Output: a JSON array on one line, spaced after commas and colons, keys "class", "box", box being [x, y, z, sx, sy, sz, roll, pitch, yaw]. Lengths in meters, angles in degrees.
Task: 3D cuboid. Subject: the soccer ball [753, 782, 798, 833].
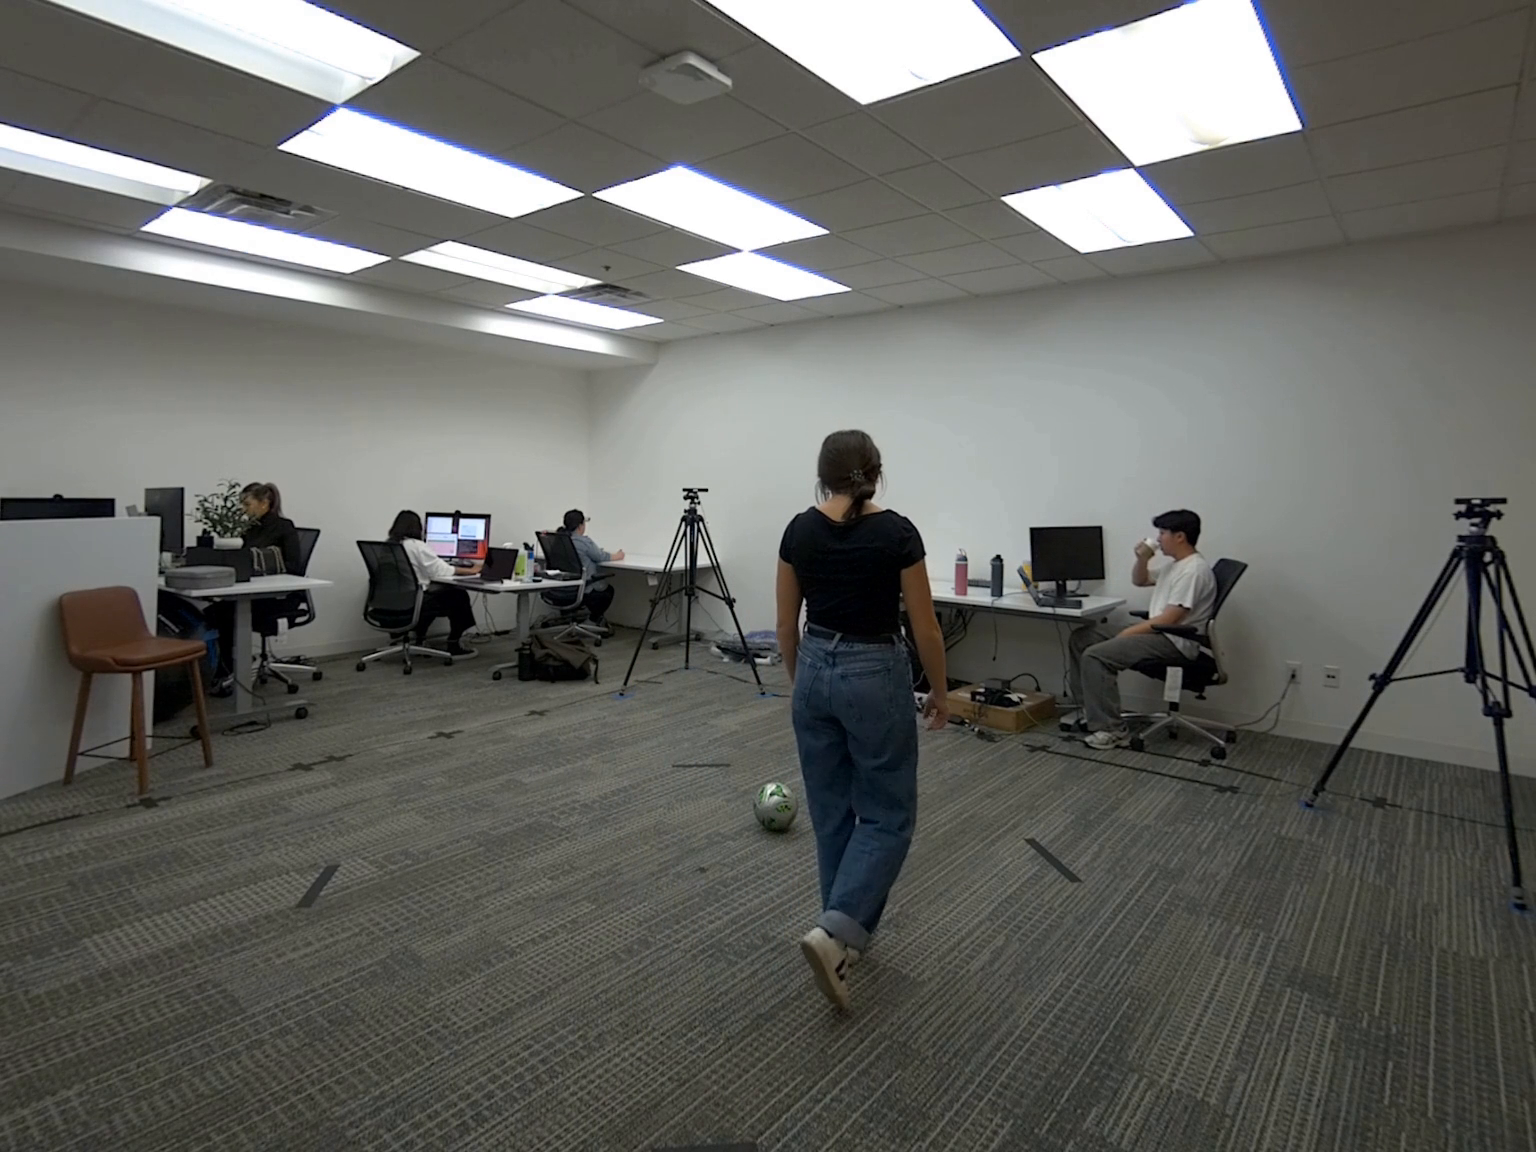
[{"class": "soccer ball", "box": [0.035, 0.933, 3.498, 0.187, 0.187, 0.188, 1, 4, -2]}]
